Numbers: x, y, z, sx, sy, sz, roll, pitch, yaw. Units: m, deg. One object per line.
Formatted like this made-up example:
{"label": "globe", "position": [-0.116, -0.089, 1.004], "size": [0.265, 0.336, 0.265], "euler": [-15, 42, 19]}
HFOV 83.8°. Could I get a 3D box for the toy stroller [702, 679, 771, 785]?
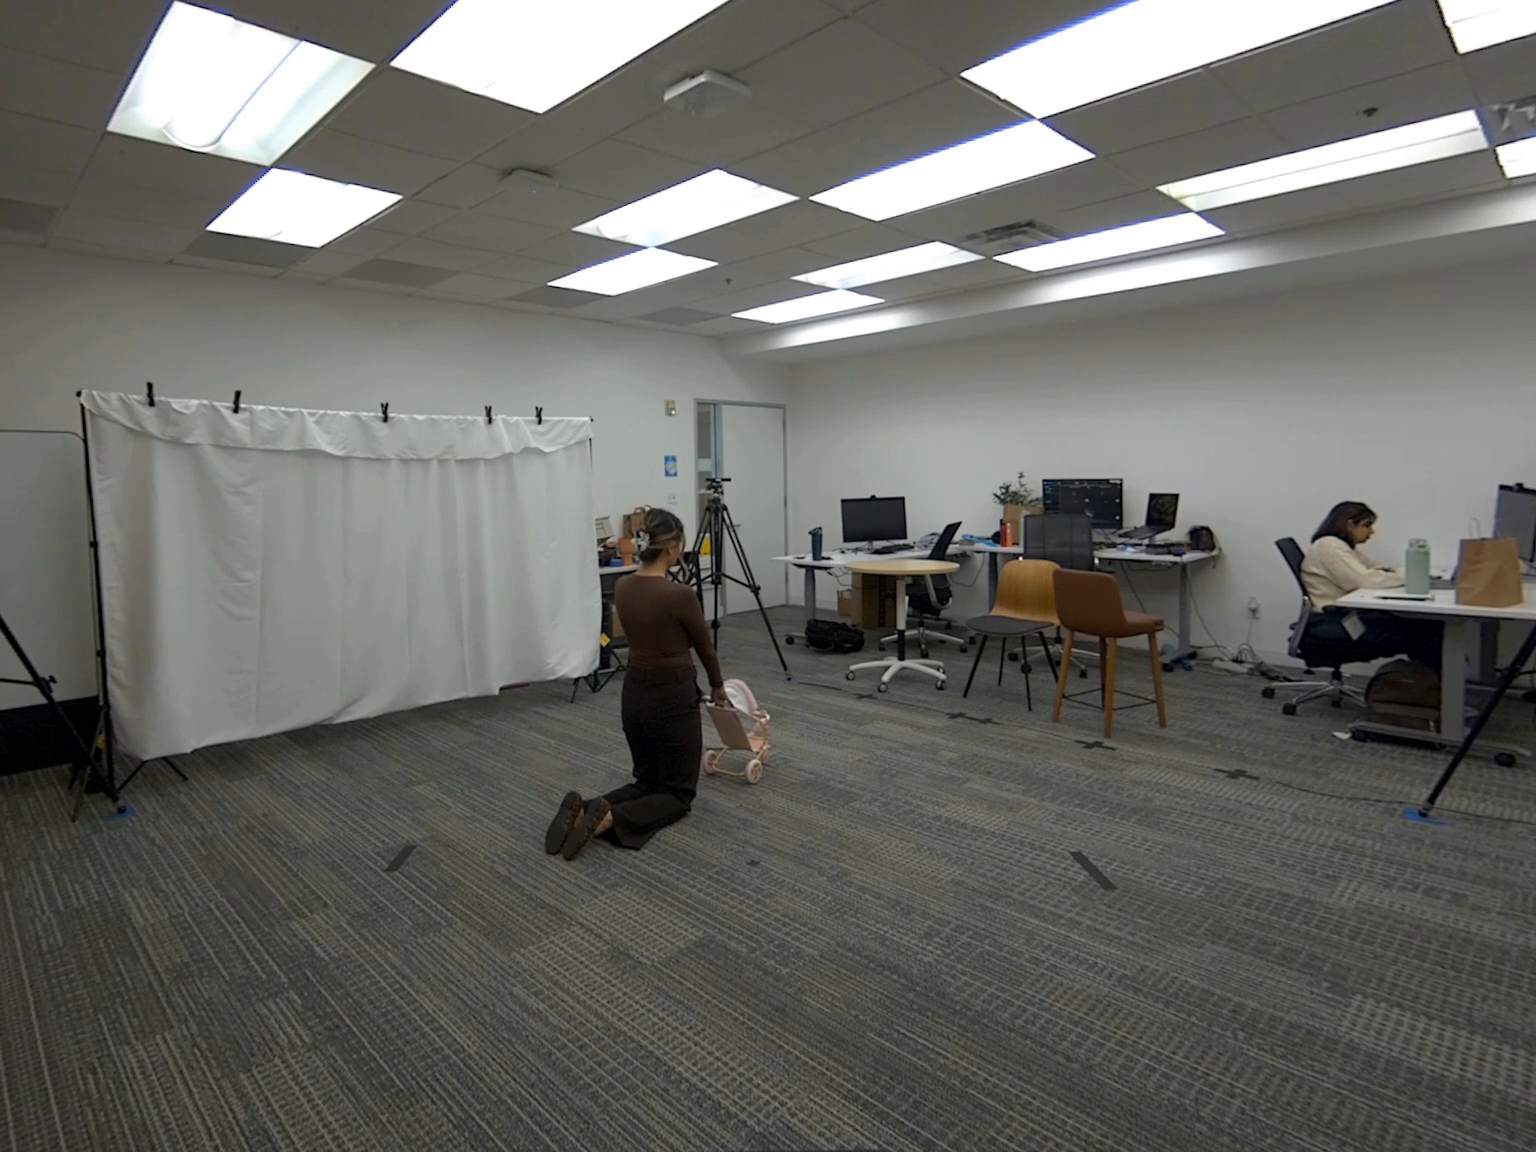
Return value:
{"label": "toy stroller", "position": [-0.136, 0.717, 4.028], "size": [0.290, 0.525, 0.337], "euler": [3, 24, 39]}
